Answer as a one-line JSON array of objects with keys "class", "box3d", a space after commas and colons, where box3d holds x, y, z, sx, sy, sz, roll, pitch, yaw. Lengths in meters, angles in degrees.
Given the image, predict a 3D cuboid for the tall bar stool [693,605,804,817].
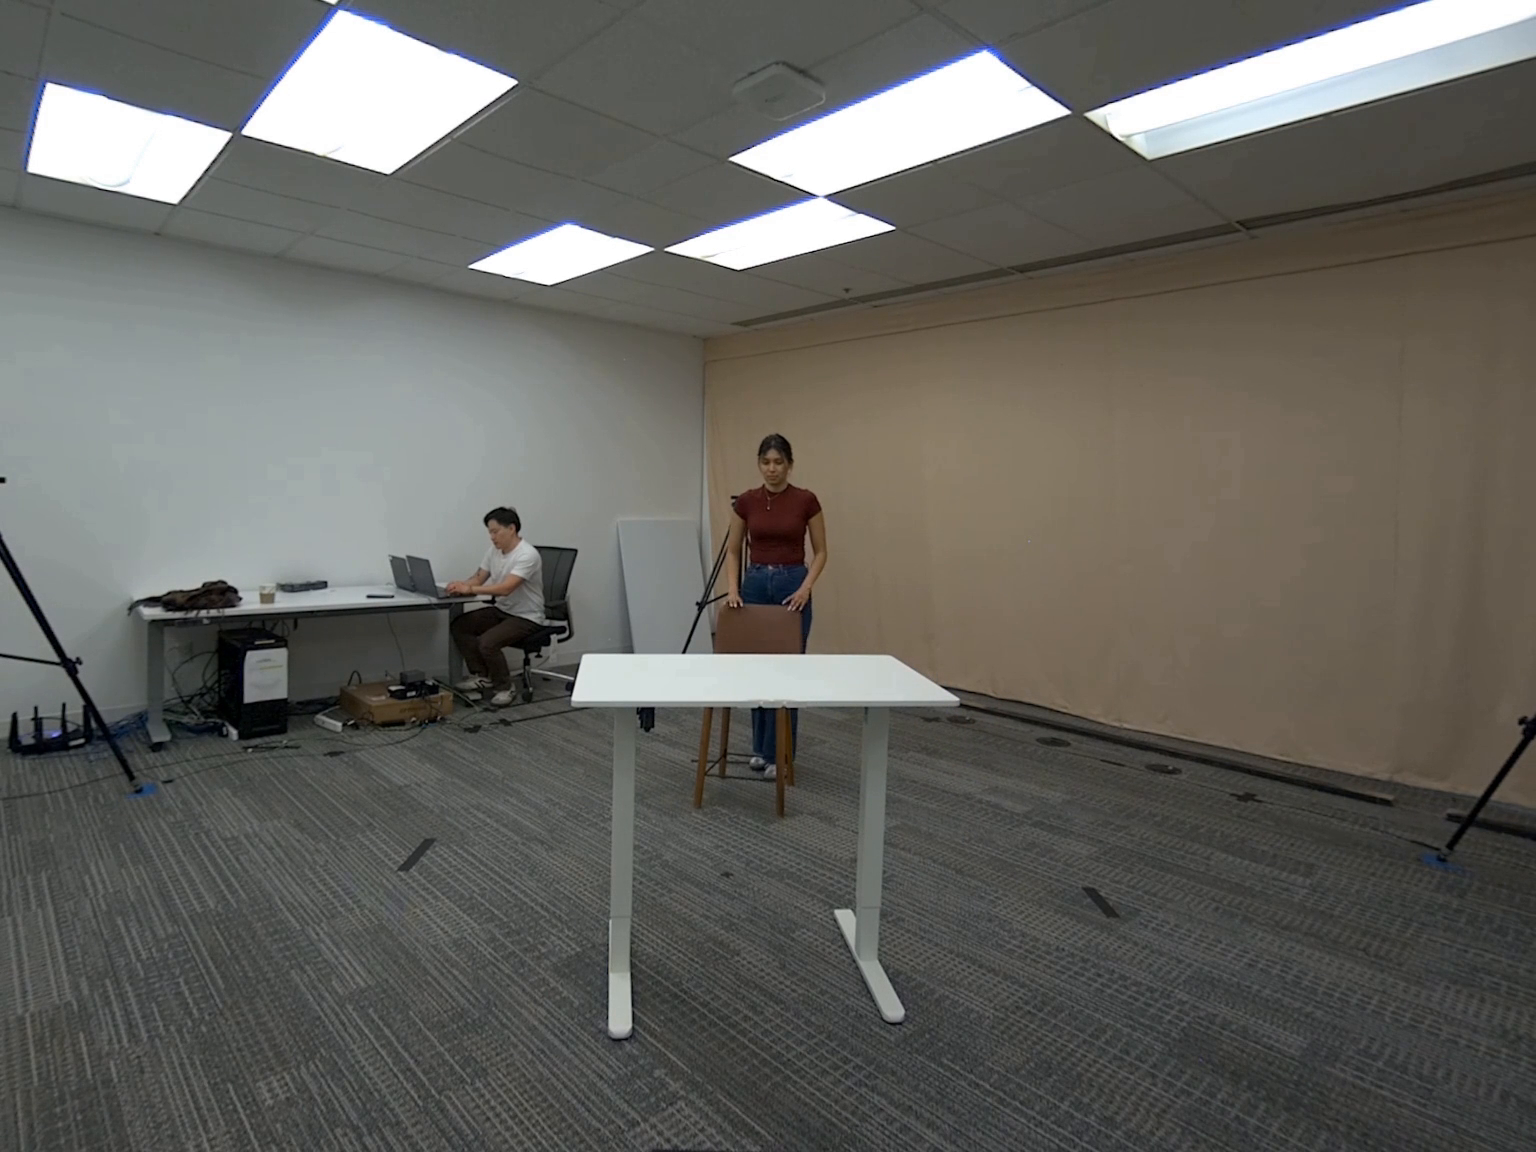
[{"class": "tall bar stool", "box3d": [-0.093, 0.599, 3.935, 0.461, 0.889, 0.463, 2, 1, 11]}]
